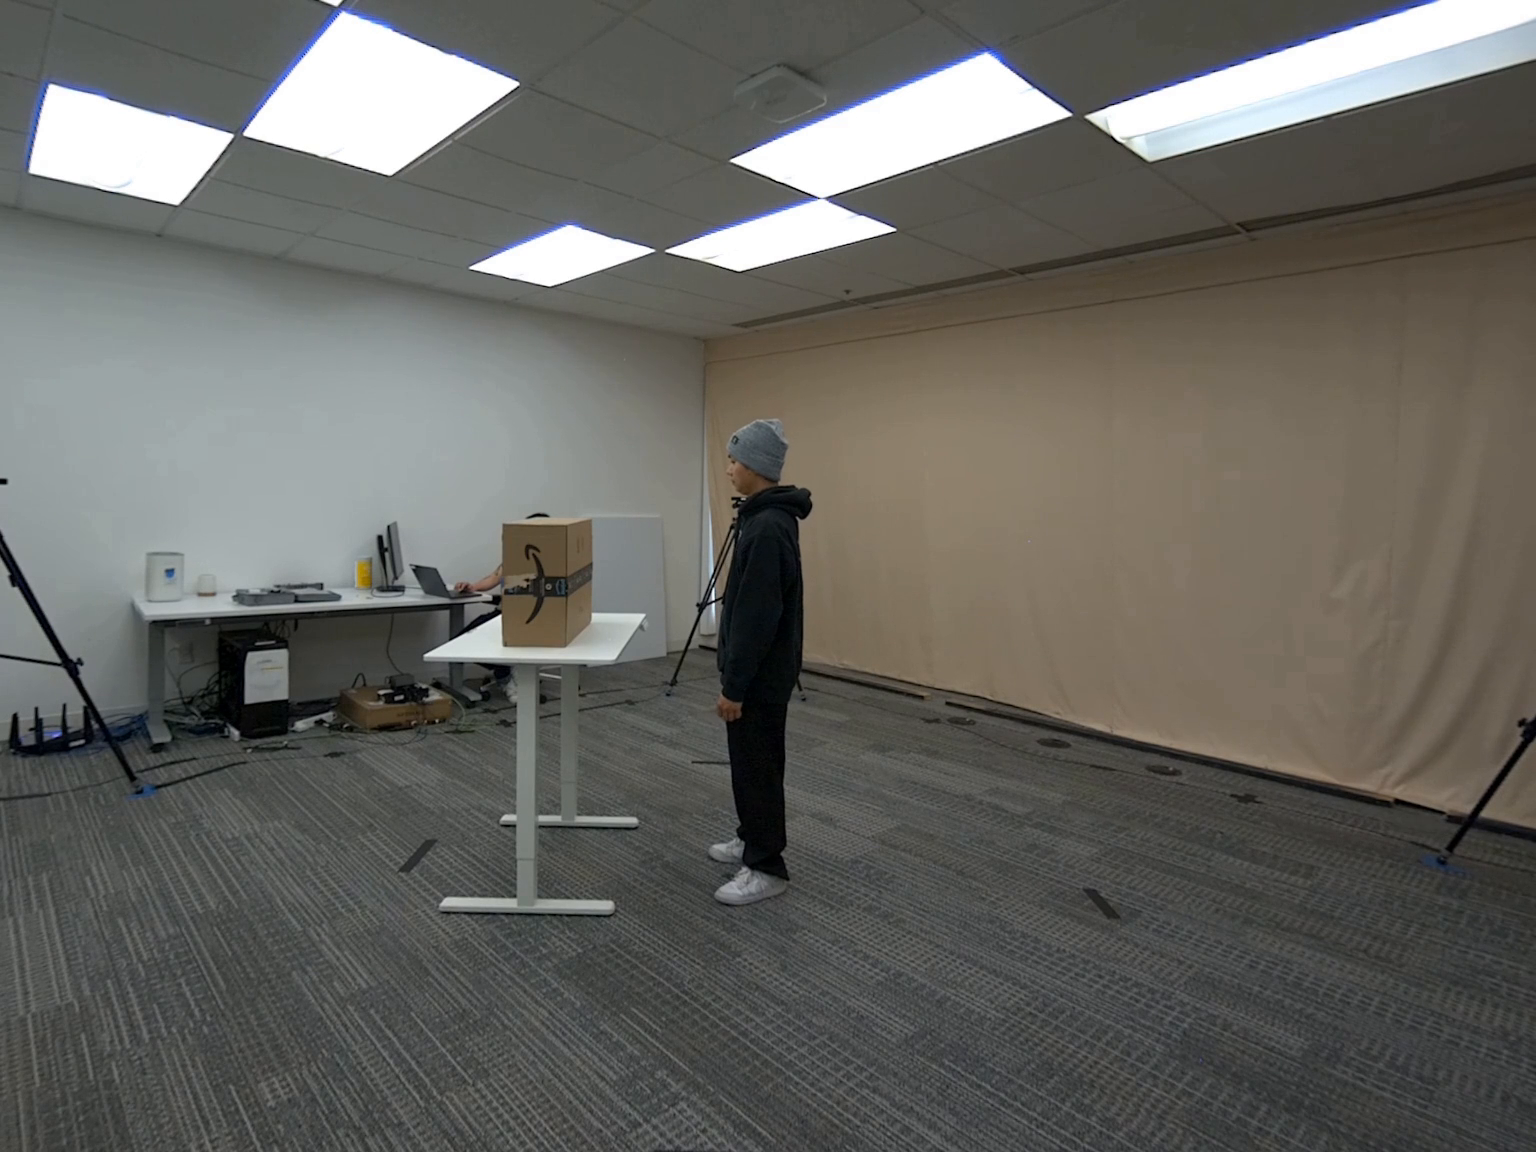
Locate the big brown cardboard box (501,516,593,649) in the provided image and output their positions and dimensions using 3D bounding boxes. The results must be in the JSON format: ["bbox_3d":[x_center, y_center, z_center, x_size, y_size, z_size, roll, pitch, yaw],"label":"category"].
[{"bbox_3d":[-0.794,0.003,3.080,0.233,0.416,0.592,0,5,-3],"label":"big brown cardboard box"}]
